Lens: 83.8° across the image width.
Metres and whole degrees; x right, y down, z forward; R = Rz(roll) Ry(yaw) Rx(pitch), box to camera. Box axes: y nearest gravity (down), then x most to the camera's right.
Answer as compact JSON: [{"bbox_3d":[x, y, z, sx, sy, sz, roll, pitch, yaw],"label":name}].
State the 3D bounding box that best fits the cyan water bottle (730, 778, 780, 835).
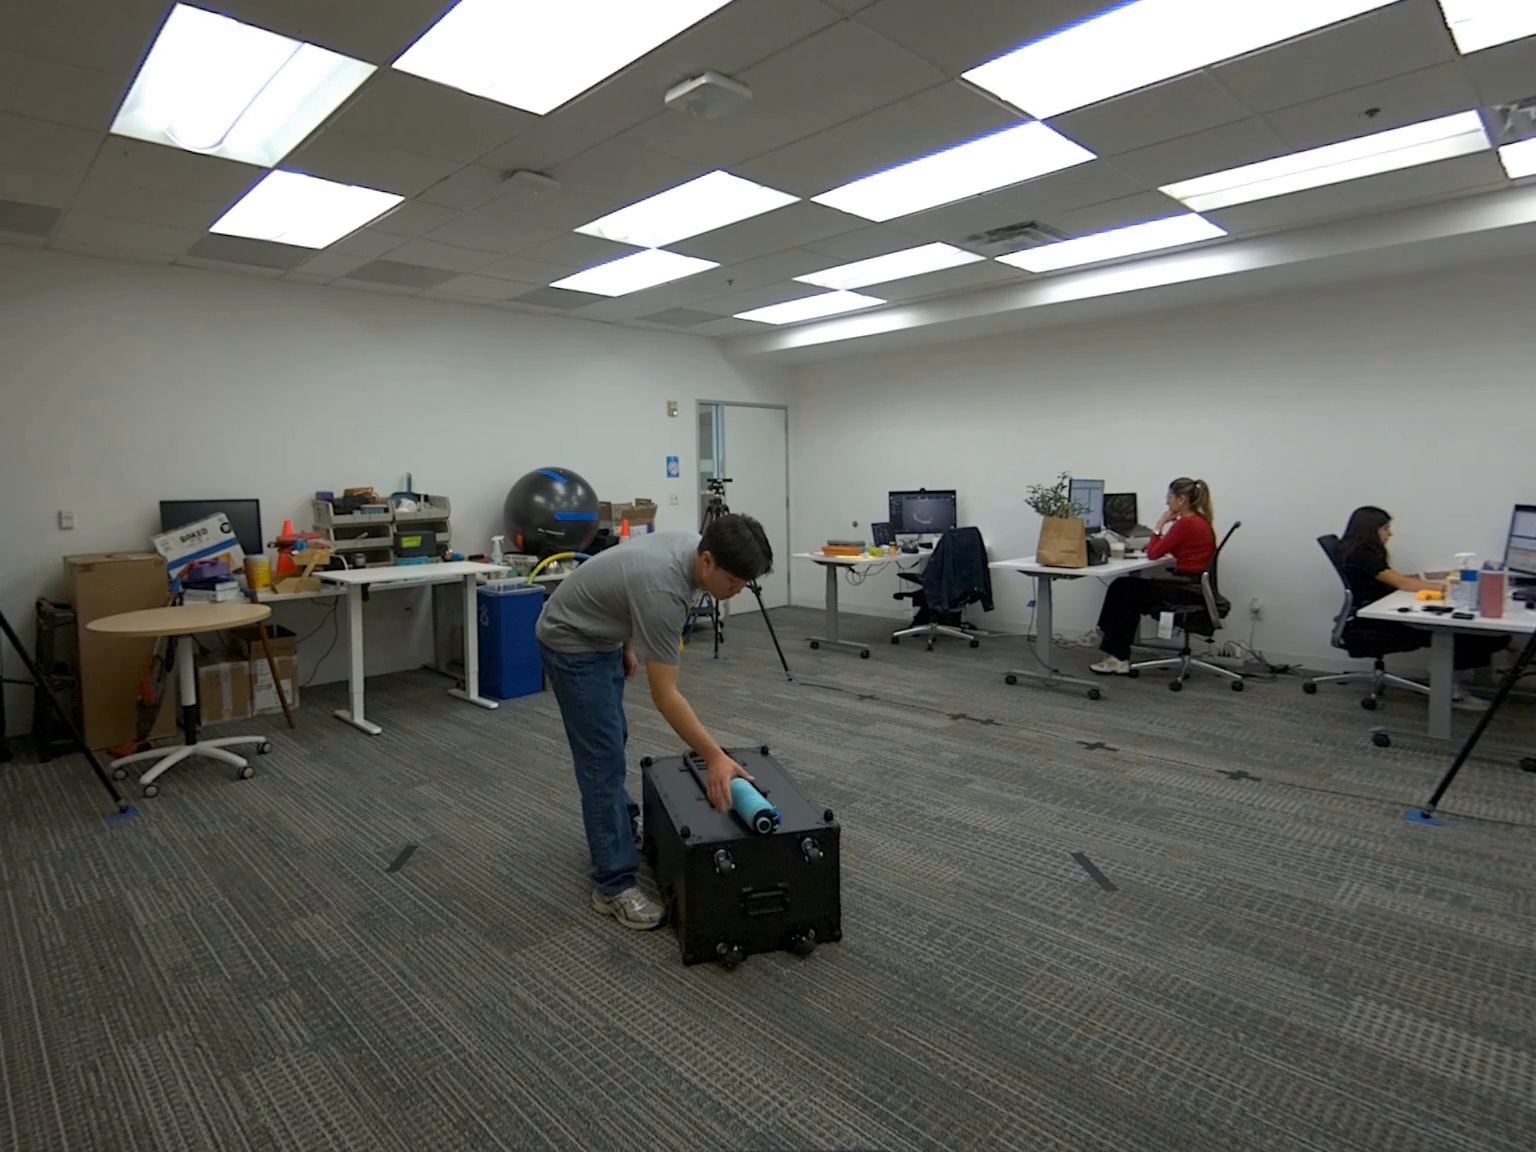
[{"bbox_3d":[-0.046,0.692,2.589,0.091,0.092,0.290,-3,7,-21],"label":"cyan water bottle"}]
